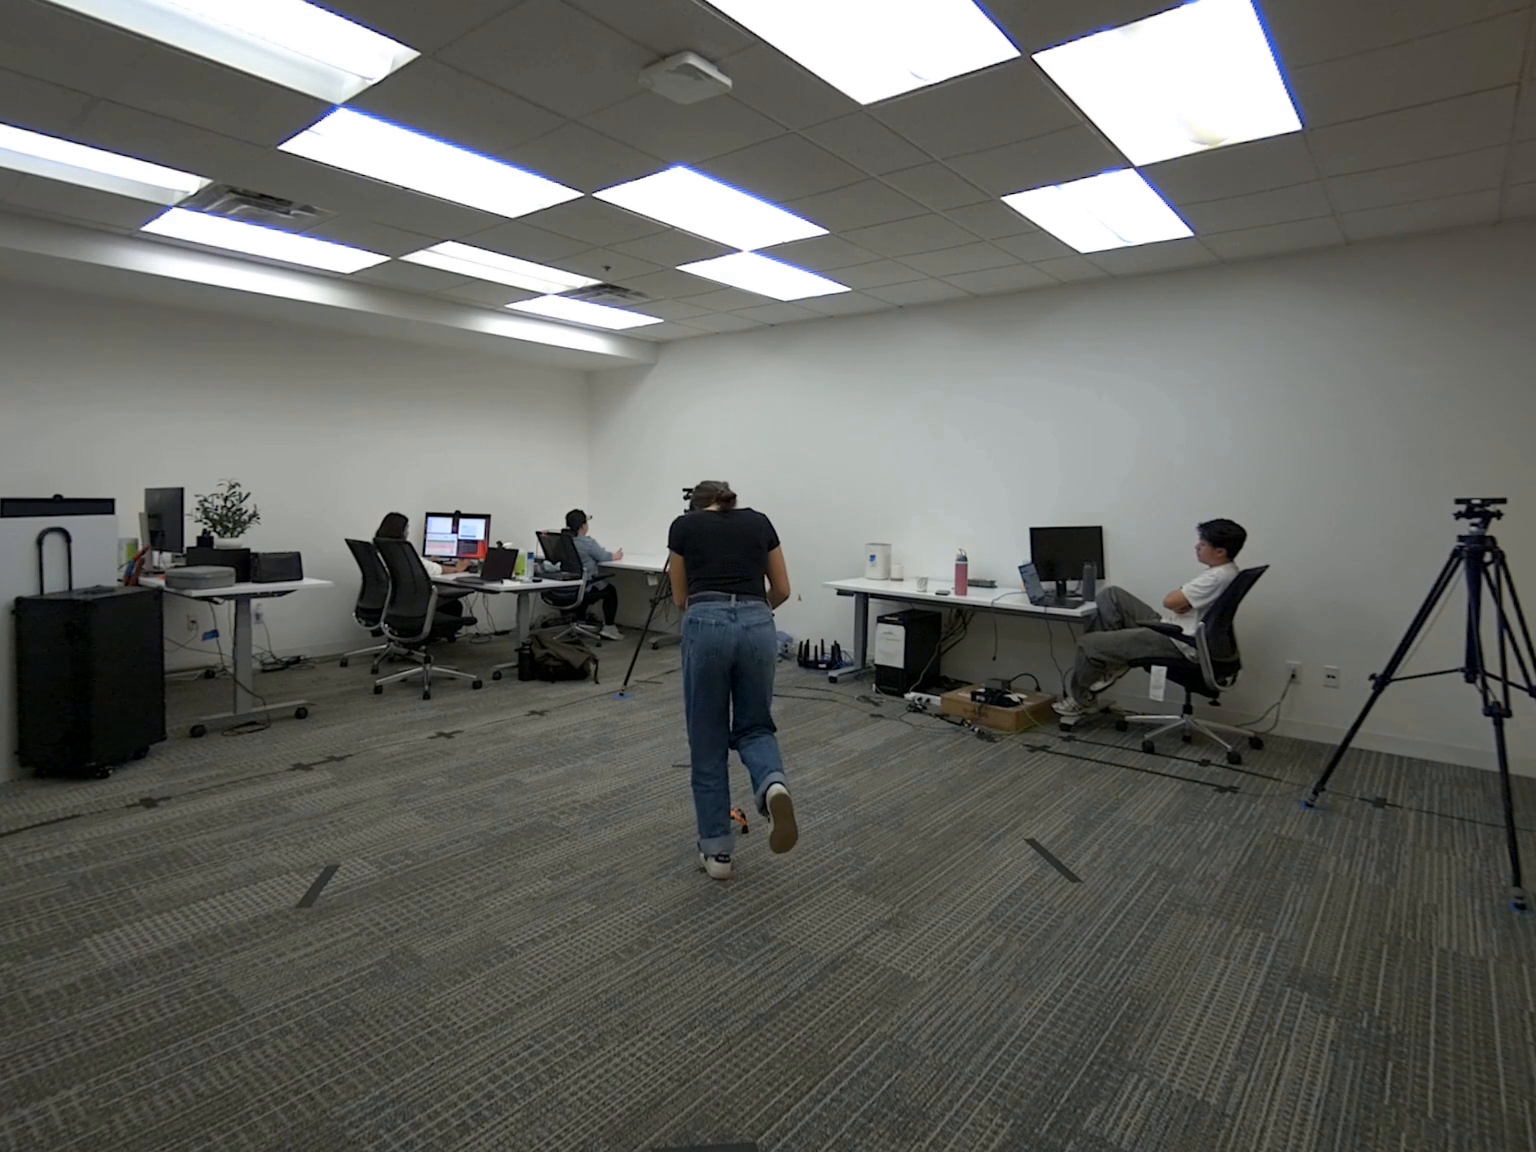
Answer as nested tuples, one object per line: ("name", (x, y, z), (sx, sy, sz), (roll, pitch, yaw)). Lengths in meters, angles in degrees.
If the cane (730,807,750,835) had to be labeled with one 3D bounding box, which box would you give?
("cane", (-0.170, 0.565, 3.495), (0.206, 0.906, 0.152), (1, 2, -4))
